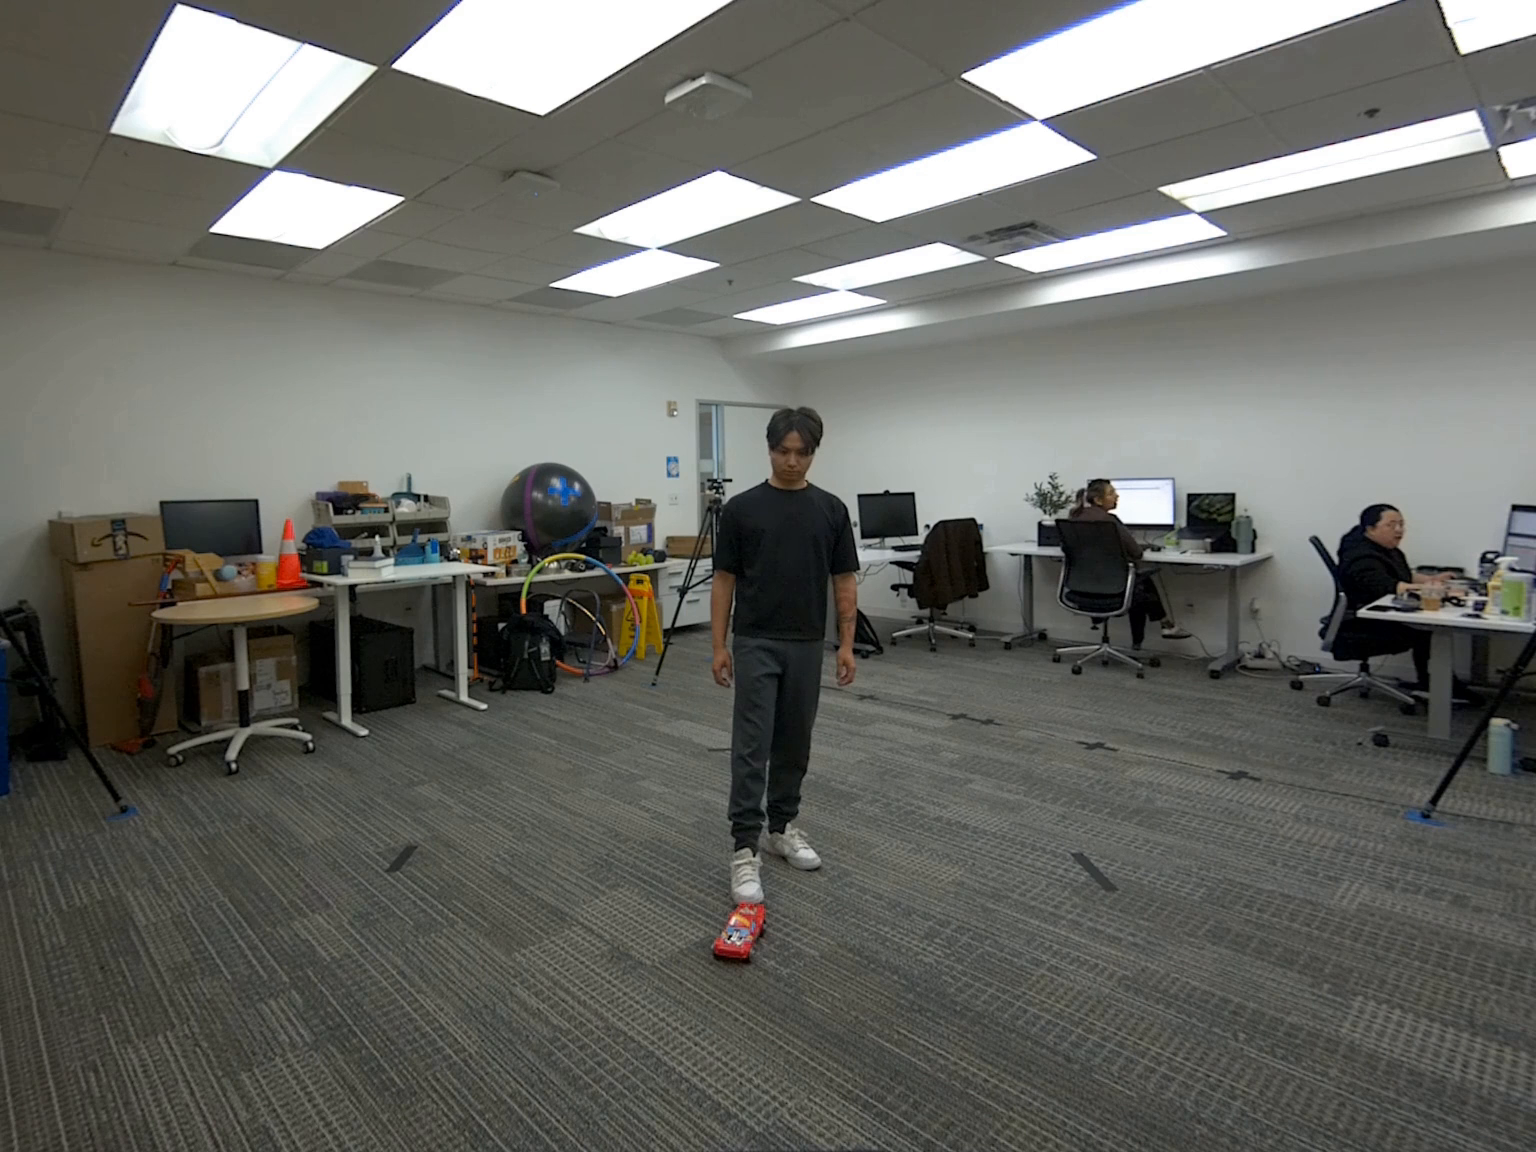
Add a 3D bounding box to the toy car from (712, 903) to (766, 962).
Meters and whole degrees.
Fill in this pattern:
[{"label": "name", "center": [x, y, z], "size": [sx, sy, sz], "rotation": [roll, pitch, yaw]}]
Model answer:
[{"label": "toy car", "center": [-0.072, 1.080, 2.585], "size": [0.132, 0.082, 0.254], "rotation": [1, 17, 16]}]
